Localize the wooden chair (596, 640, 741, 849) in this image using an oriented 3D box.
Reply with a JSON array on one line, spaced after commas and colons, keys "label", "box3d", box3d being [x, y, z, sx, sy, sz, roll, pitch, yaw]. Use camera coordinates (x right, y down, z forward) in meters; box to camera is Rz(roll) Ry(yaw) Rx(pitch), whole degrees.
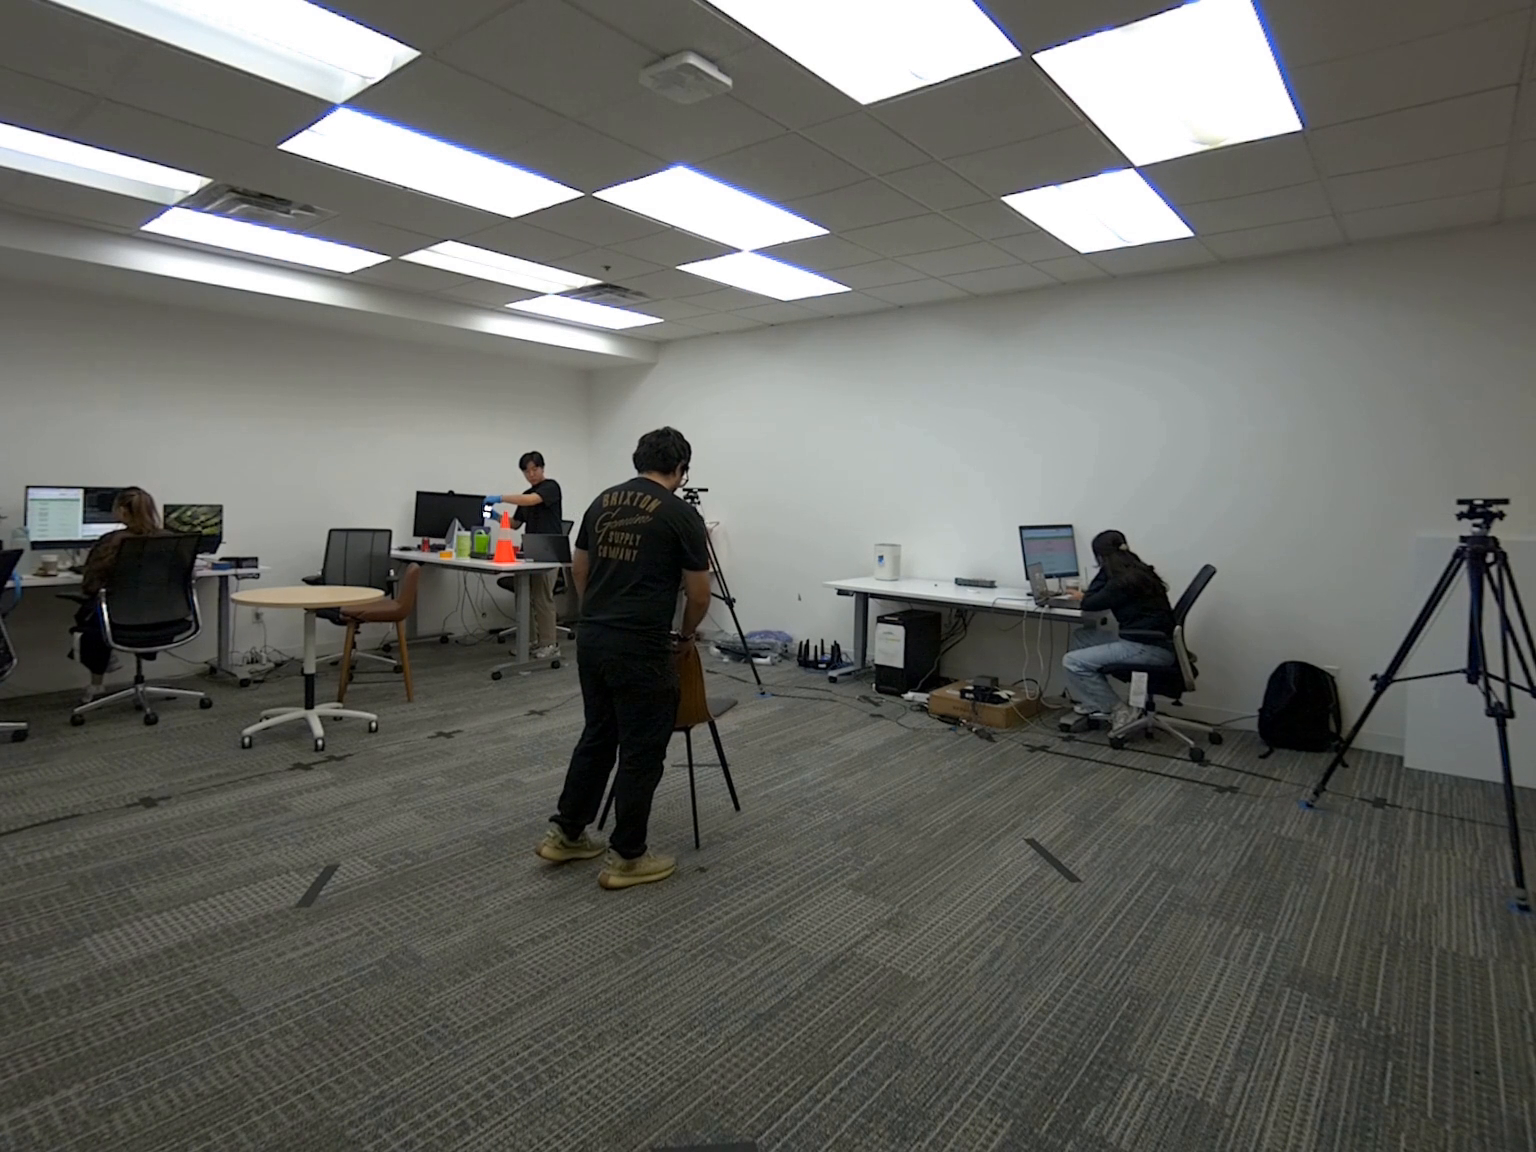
[{"label": "wooden chair", "box3d": [-0.407, 0.590, 3.554, 0.489, 0.871, 0.516, 2, 8, 20]}]
